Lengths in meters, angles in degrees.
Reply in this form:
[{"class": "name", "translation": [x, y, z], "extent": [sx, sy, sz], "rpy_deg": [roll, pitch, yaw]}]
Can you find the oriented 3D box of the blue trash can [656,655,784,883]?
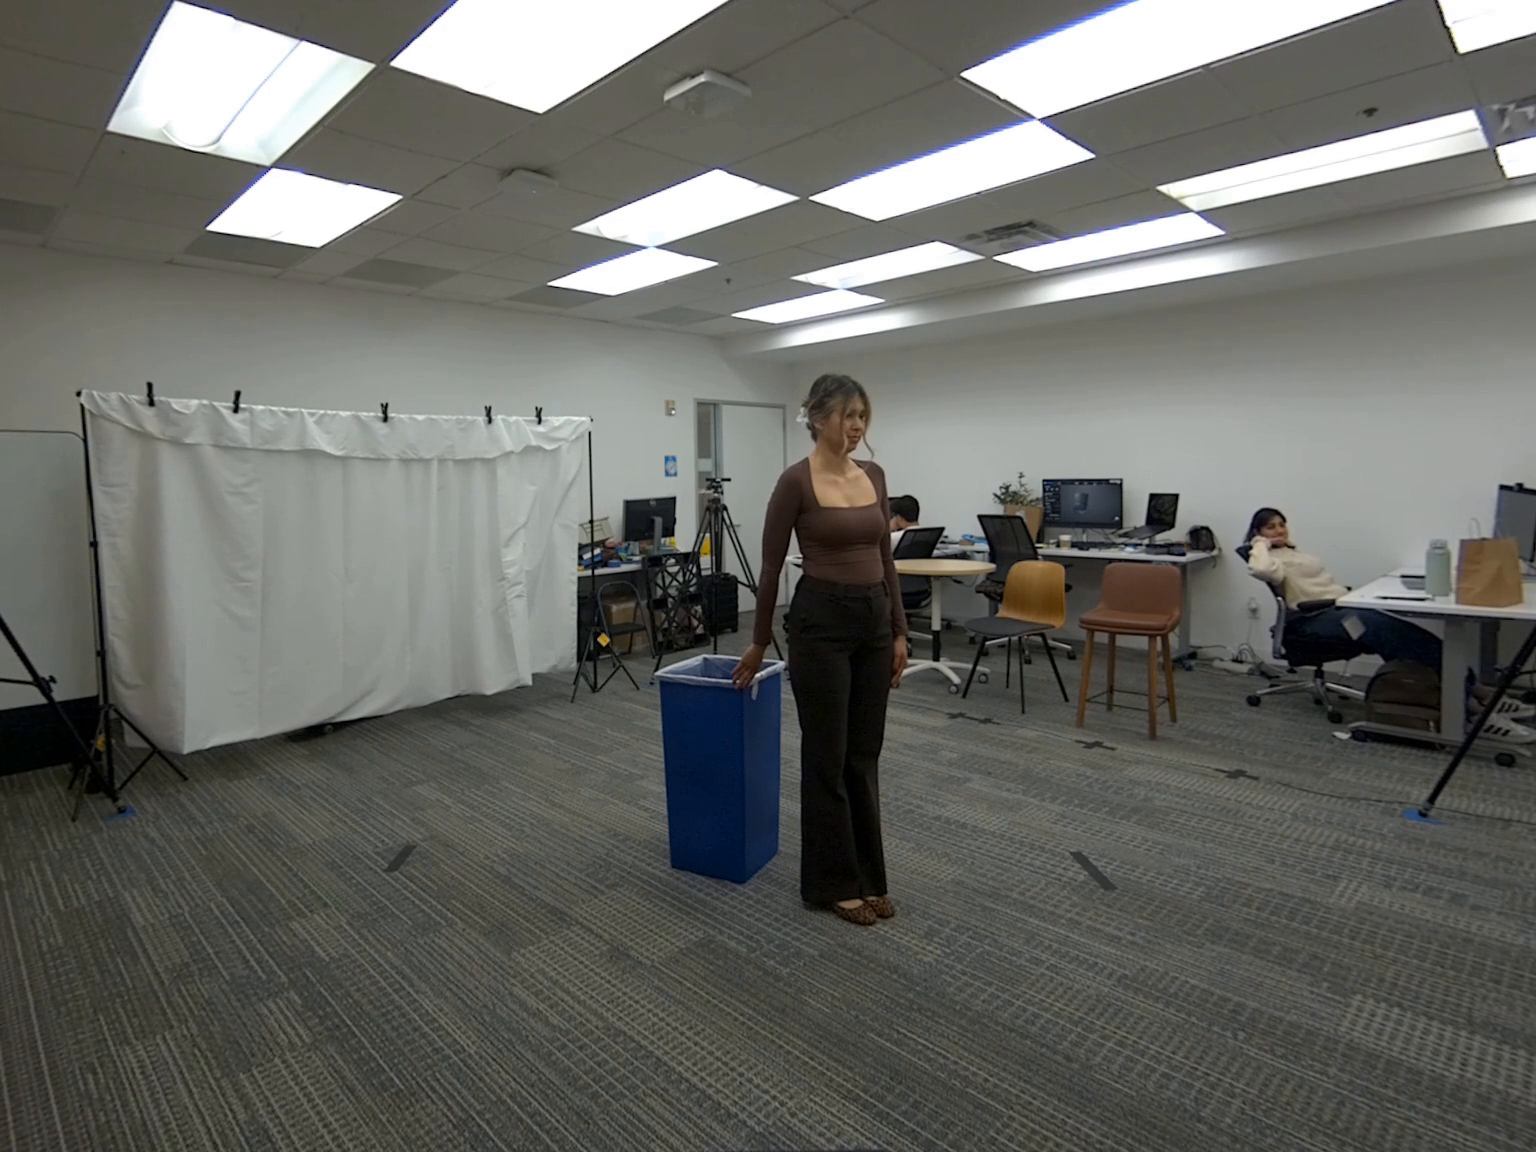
[{"class": "blue trash can", "translation": [-0.158, 0.683, 3.116], "extent": [0.387, 0.712, 0.366], "rpy_deg": [1, 3, 26]}]
